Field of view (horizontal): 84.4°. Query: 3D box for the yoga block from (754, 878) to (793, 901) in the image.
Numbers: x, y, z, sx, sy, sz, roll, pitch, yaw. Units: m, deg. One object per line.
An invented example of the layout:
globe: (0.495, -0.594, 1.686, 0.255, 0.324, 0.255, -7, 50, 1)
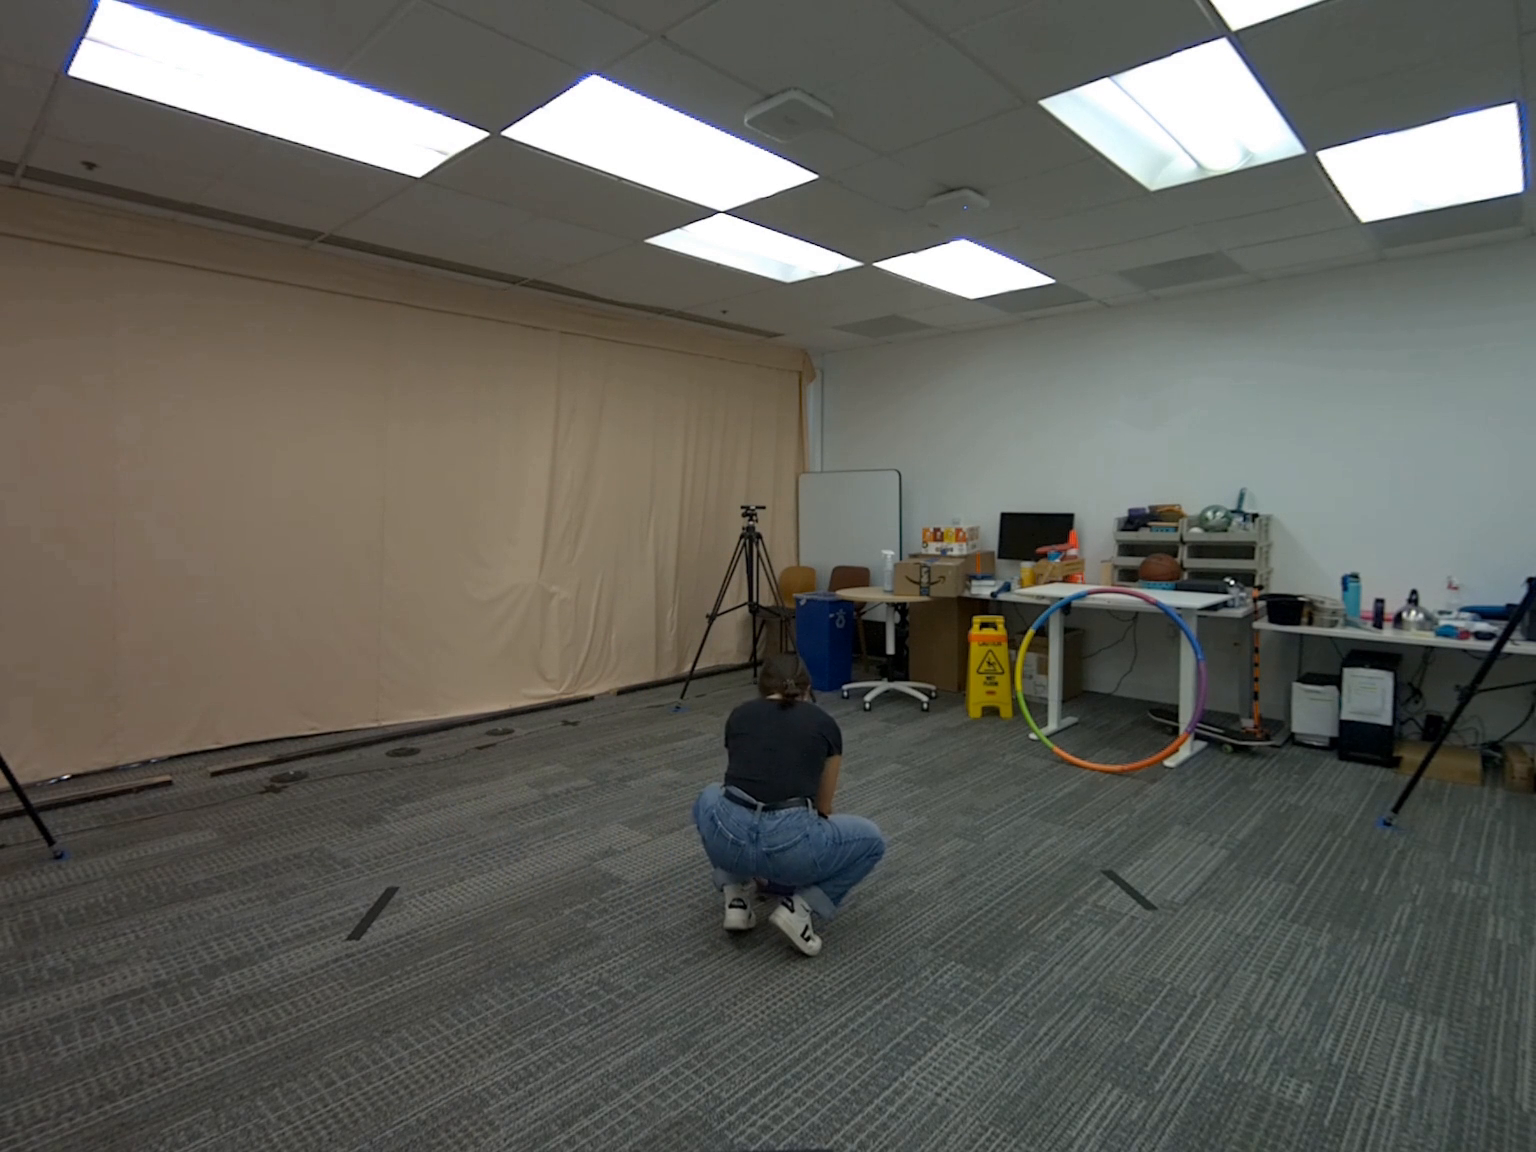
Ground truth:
yoga block: (0.092, 1.093, 3.077, 0.233, 0.076, 0.147, 1, 4, 12)
